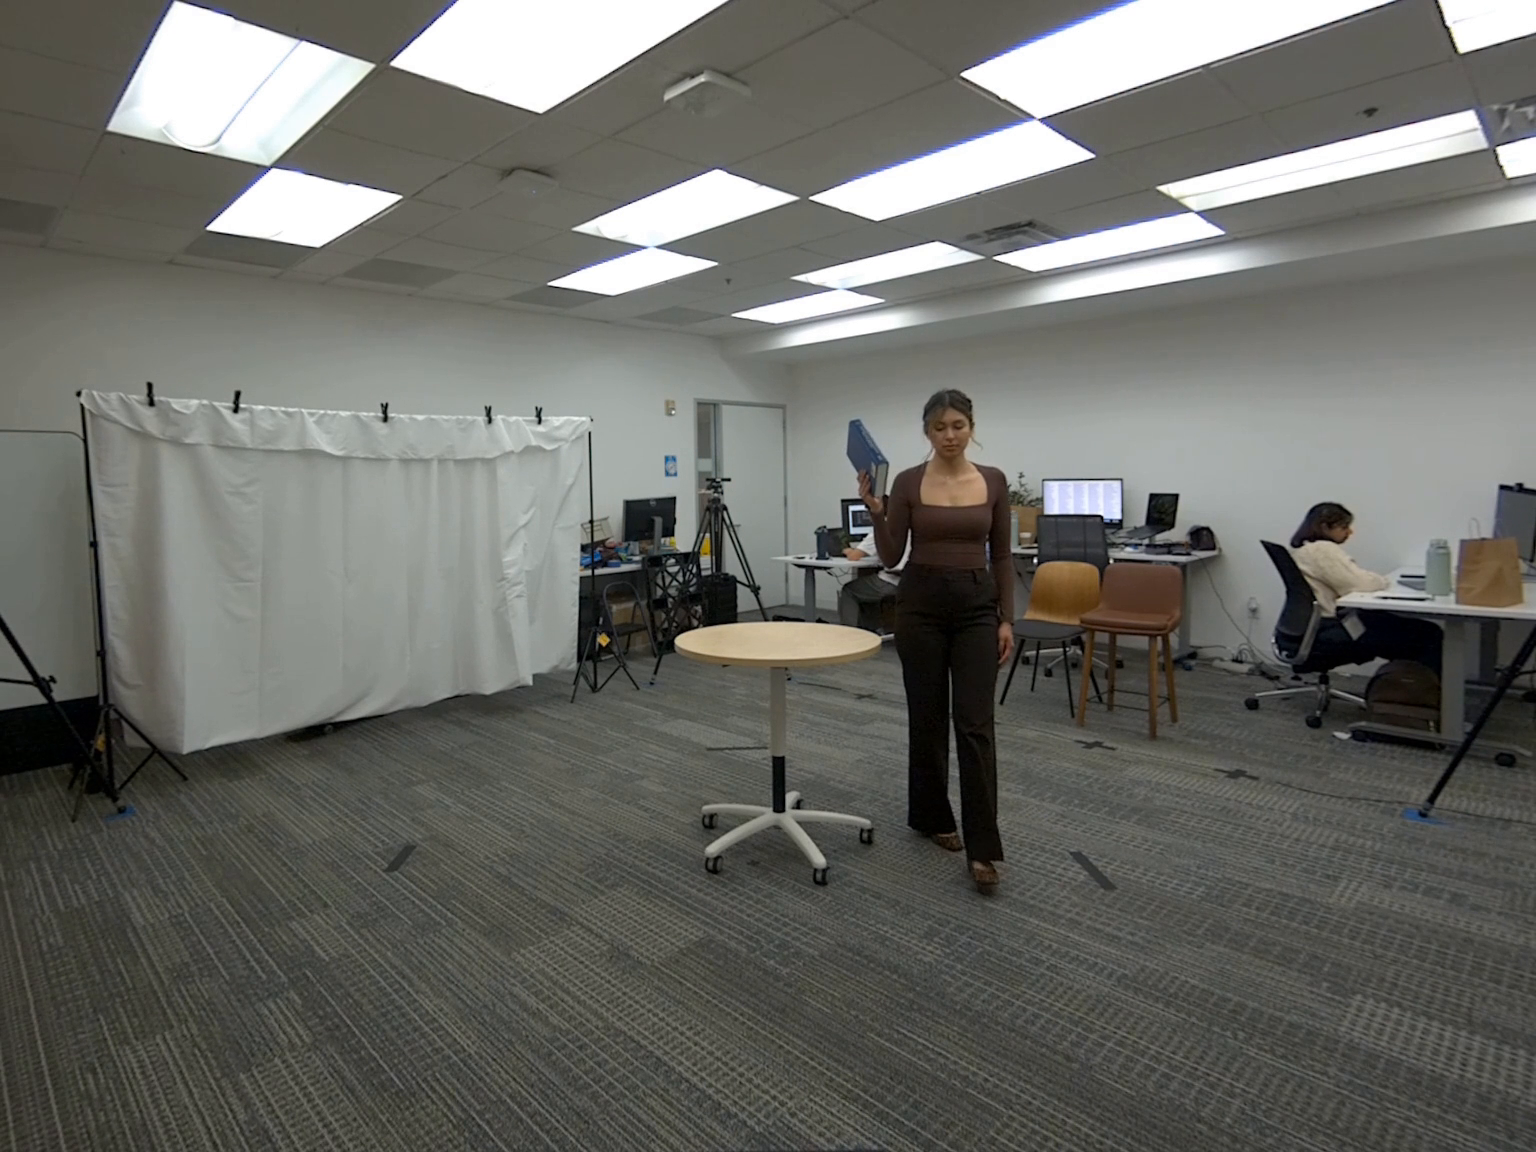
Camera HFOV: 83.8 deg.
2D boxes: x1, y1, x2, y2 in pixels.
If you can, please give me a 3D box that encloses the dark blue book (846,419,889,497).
[{"bbox_3d":[0.351,-0.414,2.984,0.045,0.158,0.254,-15,49,-8],"label":"dark blue book"}]
